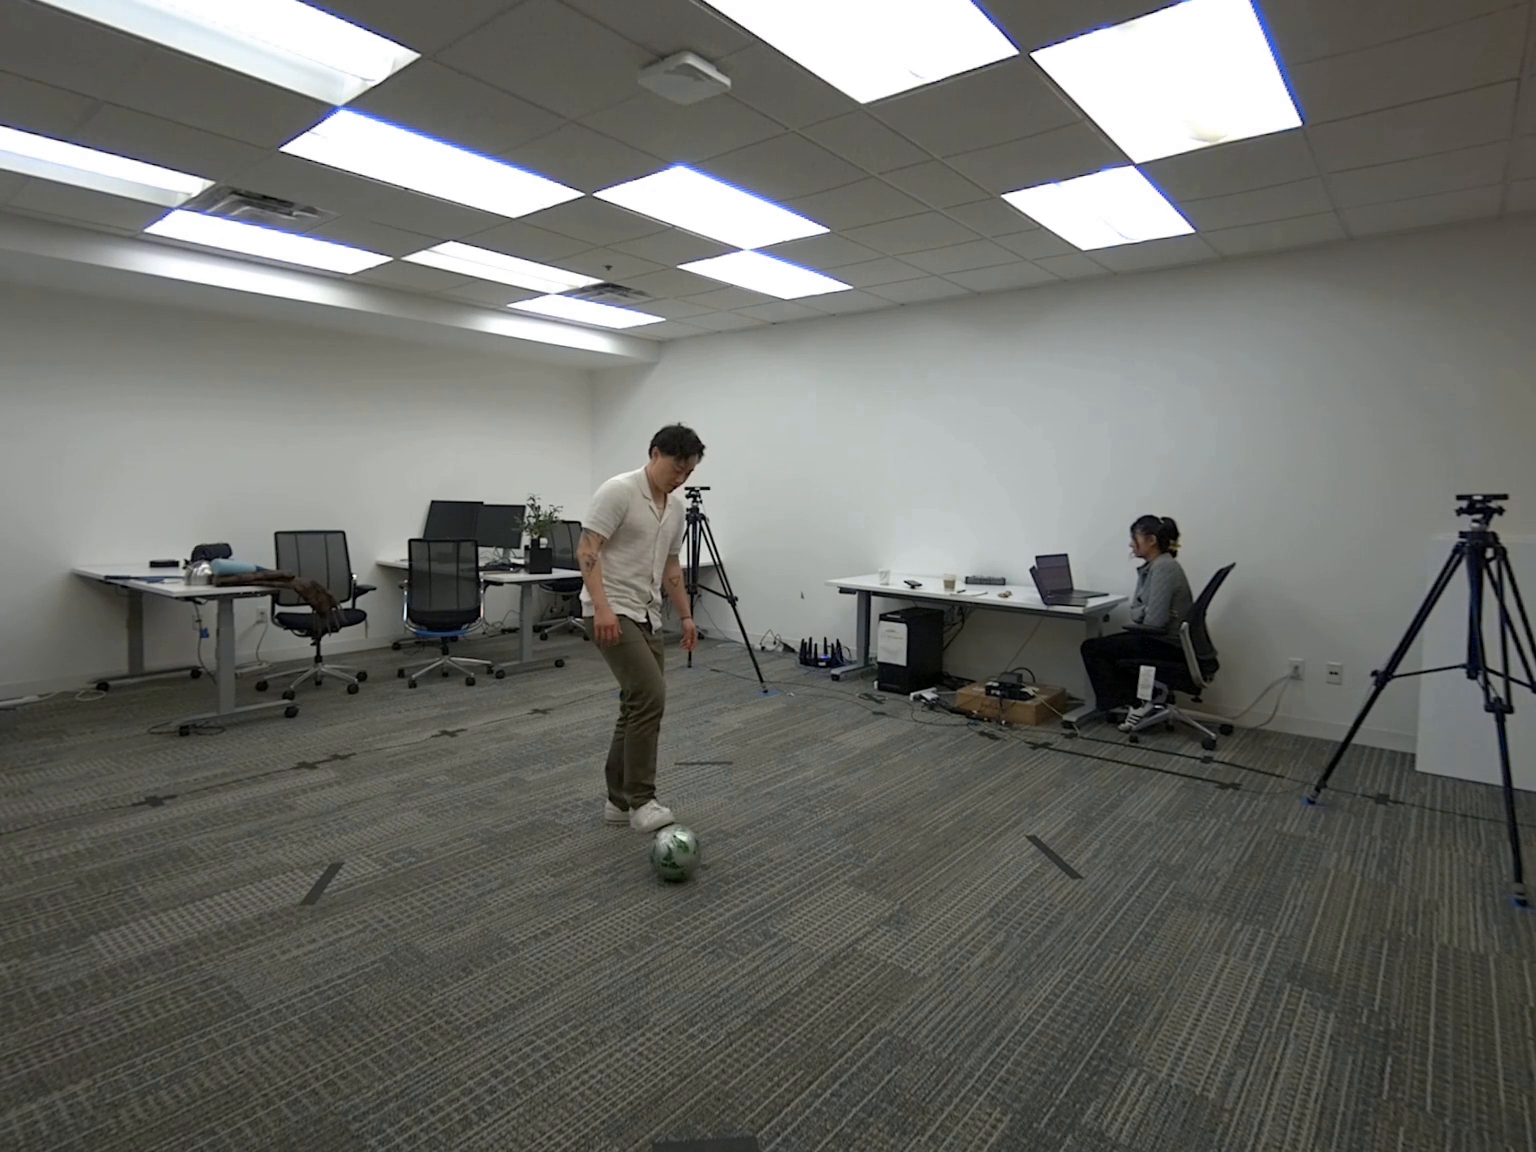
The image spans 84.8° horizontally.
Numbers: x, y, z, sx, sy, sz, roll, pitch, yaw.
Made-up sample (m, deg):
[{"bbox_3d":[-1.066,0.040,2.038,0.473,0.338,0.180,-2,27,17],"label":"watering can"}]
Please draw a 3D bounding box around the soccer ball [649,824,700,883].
[{"bbox_3d":[-0.329,0.981,3.013,0.187,0.187,0.188,1,4,-2],"label":"soccer ball"}]
